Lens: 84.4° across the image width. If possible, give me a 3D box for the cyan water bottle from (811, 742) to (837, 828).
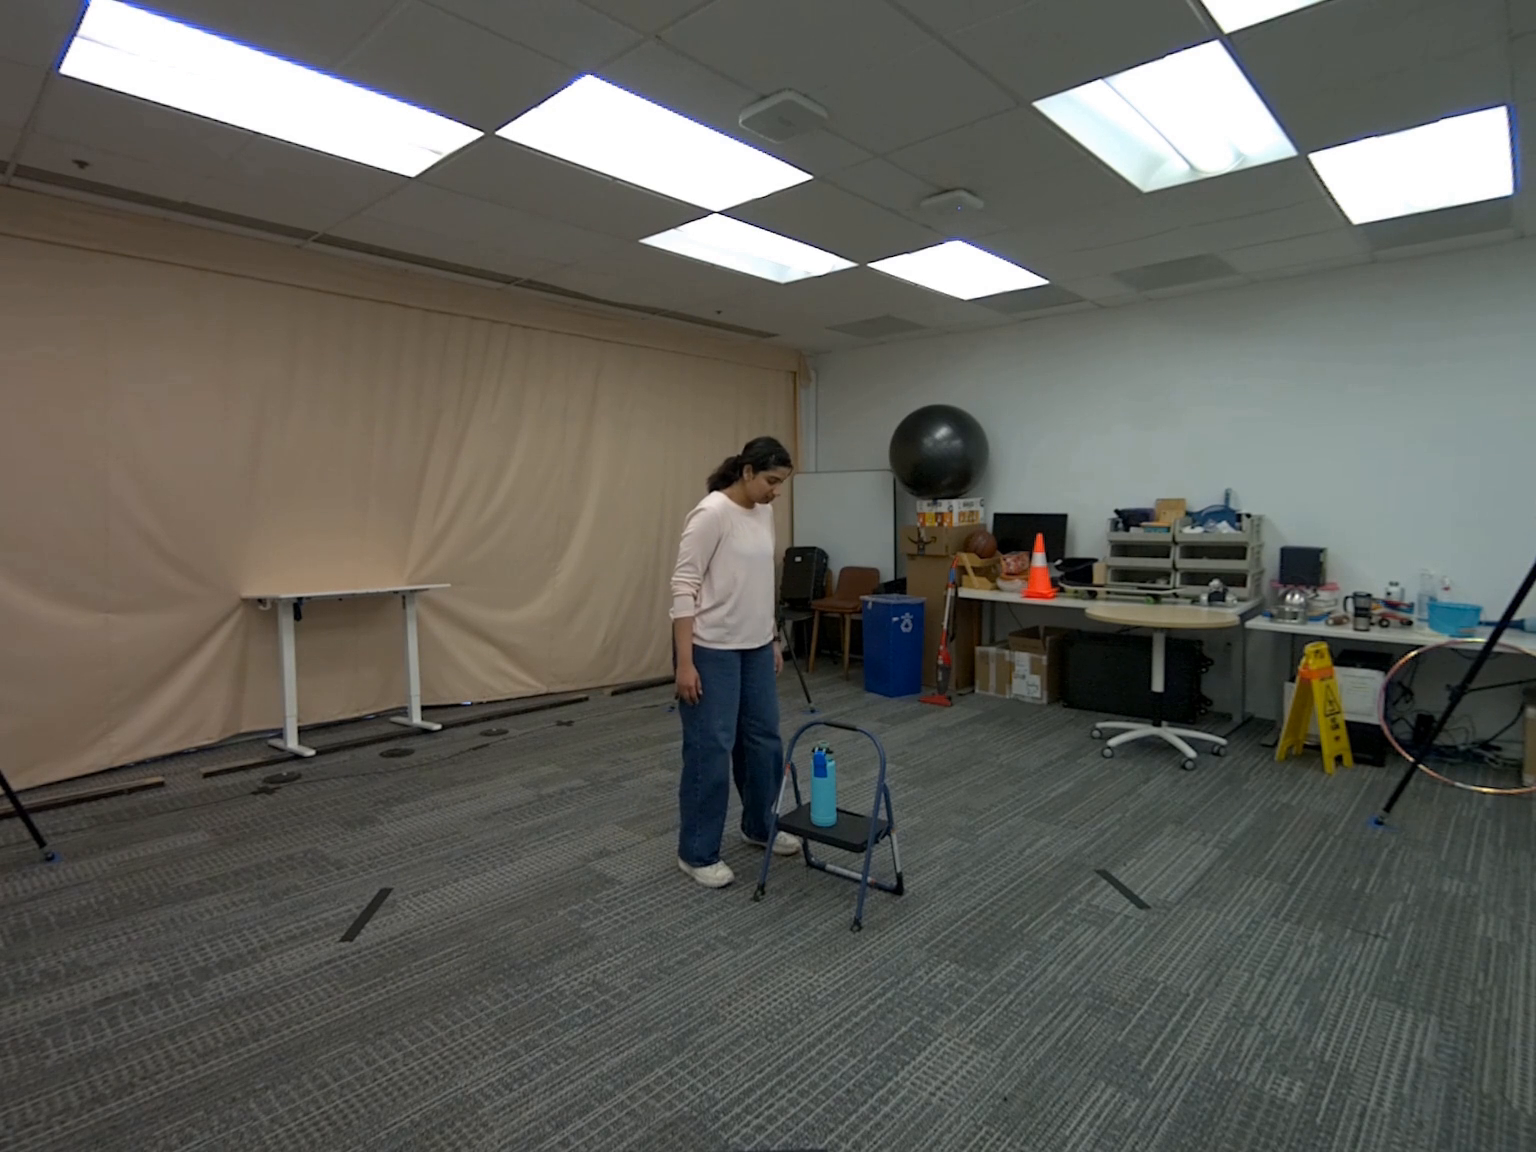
[{"bbox_3d":[0.199,0.744,3.001,0.092,0.282,0.093,-2,6,-2],"label":"cyan water bottle"}]
